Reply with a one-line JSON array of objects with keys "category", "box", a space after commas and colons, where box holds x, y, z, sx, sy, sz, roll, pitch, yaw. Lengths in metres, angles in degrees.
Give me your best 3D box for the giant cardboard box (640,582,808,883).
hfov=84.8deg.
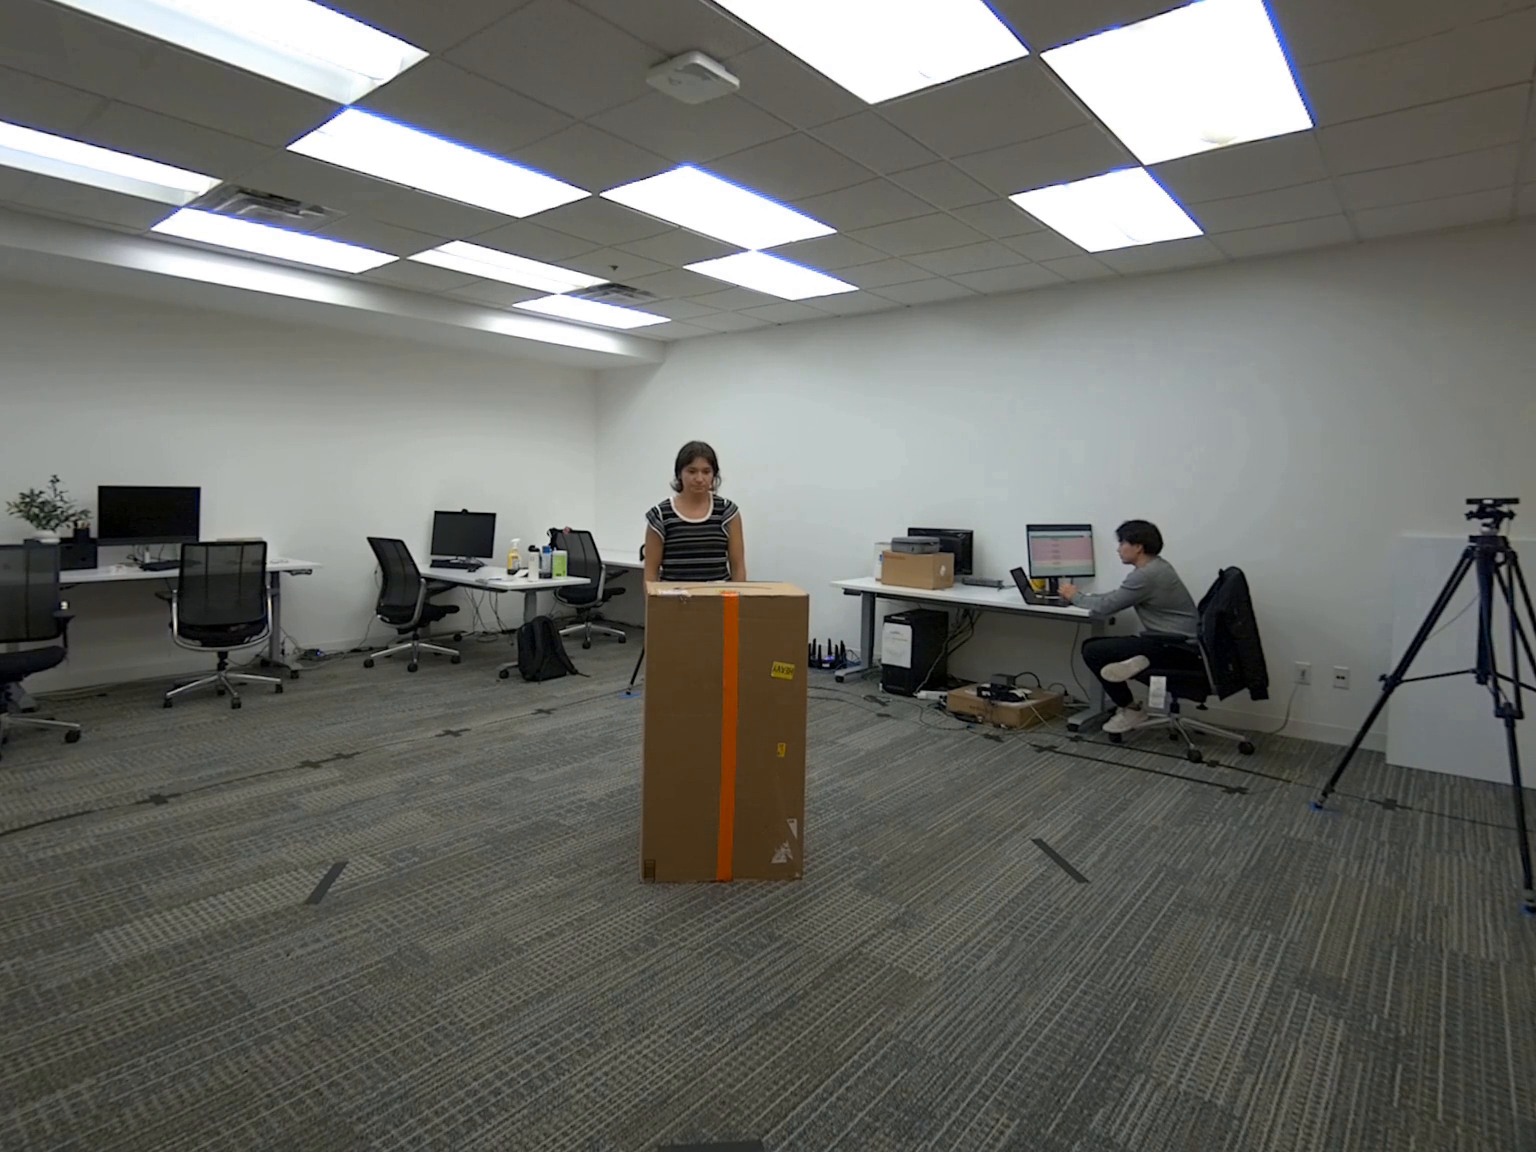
[{"category": "giant cardboard box", "box": [-0.185, 0.551, 3.194, 0.574, 1.023, 0.430, 1, 3, -7]}]
